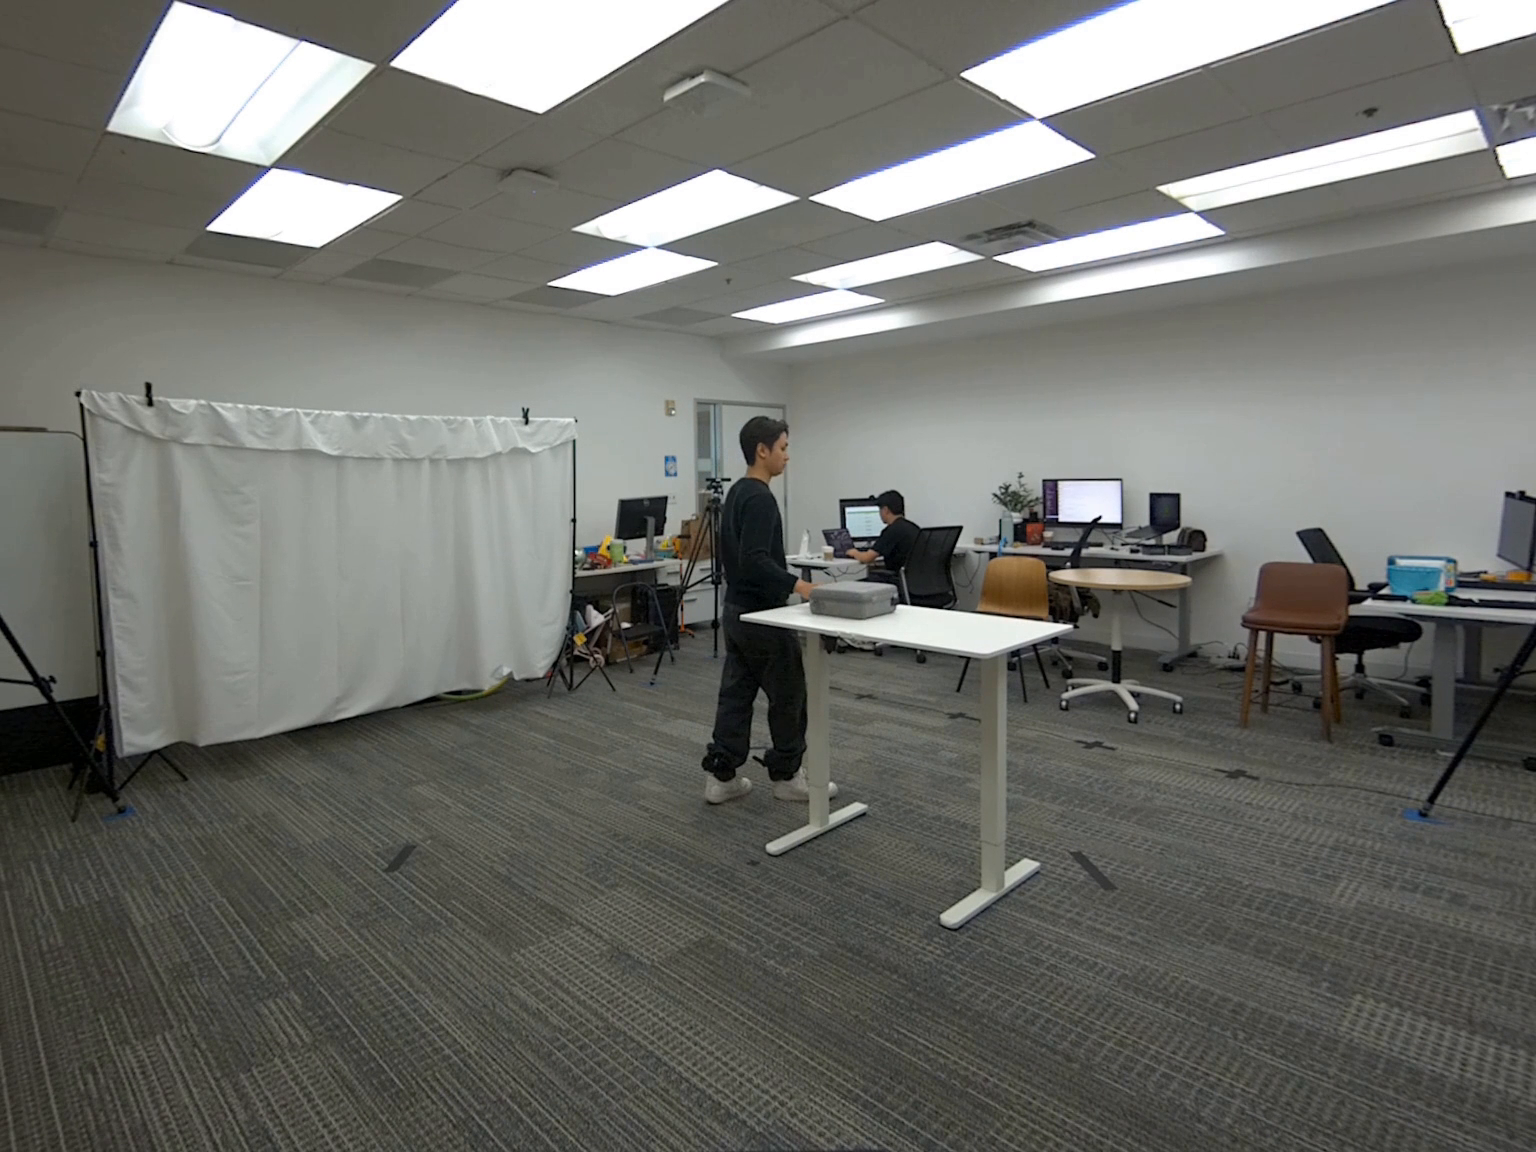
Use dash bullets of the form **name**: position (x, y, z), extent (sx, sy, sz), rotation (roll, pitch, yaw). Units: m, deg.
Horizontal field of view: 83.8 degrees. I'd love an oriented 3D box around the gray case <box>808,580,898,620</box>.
- **gray case**: position (0.318, 0.085, 3.201), extent (0.269, 0.104, 0.250), rotation (5, 8, 41)
